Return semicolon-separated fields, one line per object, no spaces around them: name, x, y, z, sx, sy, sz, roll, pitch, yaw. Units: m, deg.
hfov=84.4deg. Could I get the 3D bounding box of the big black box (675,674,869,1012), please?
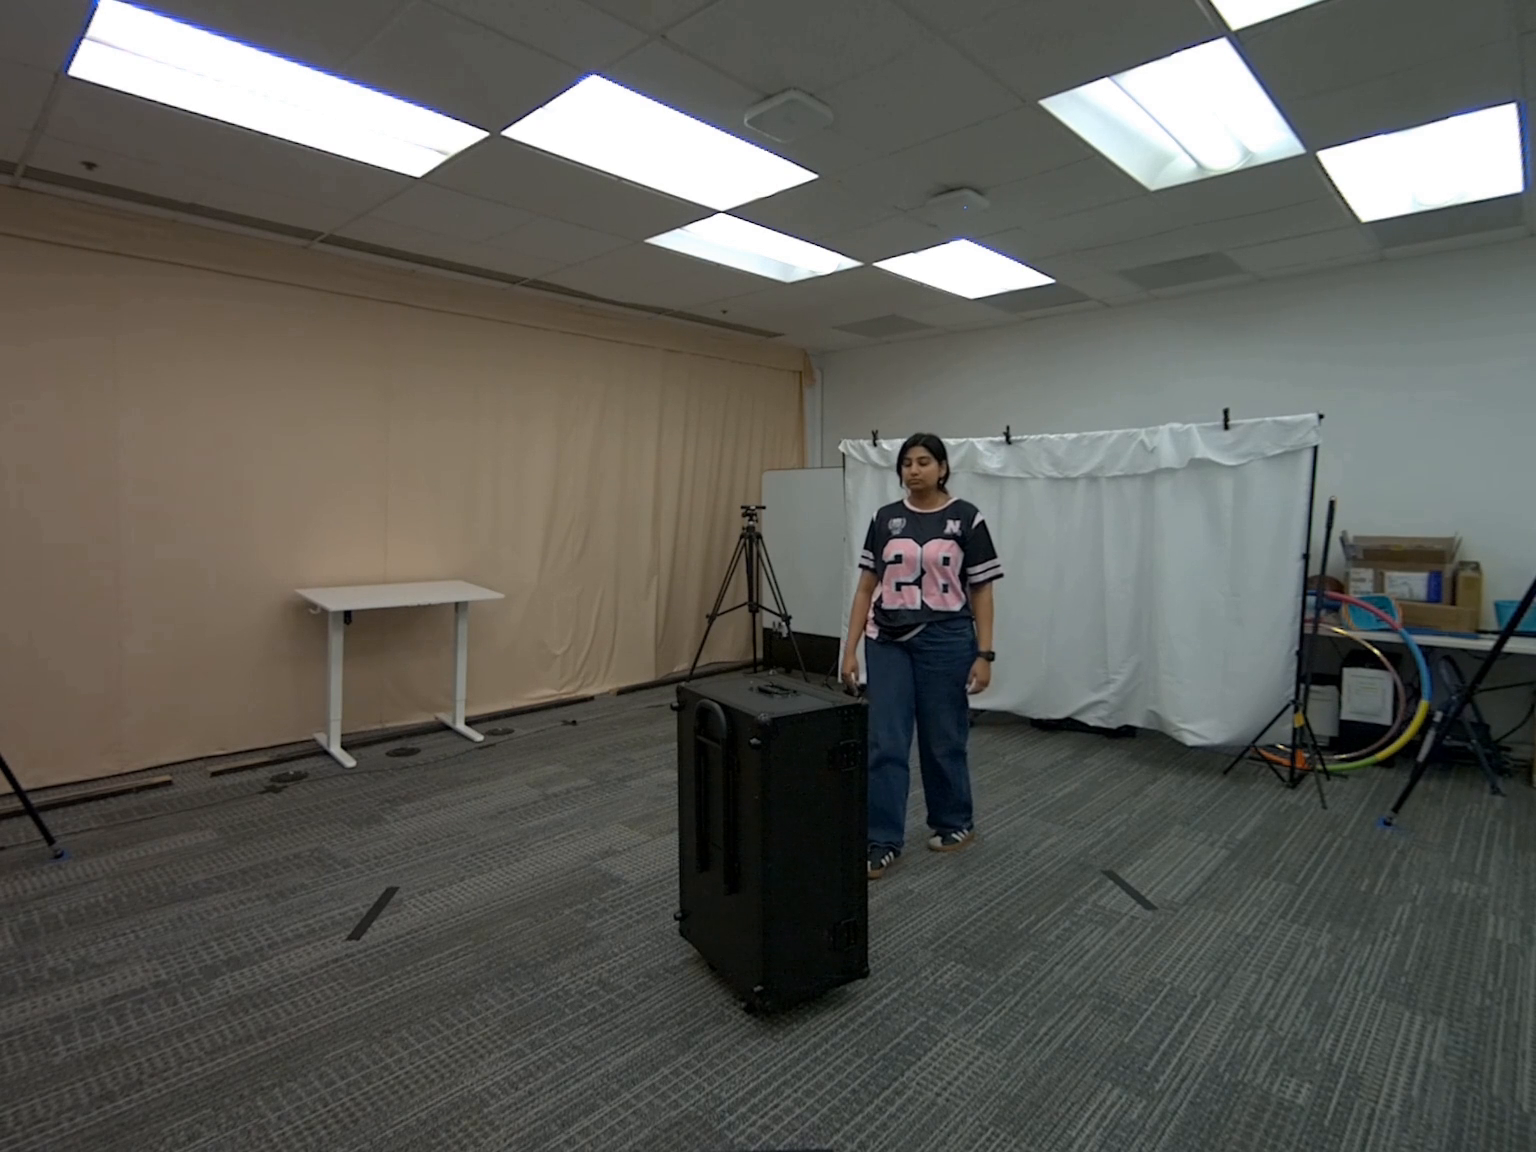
big black box;0.009;0.766;2.453;0.374;0.867;0.539;-3;4;-32
